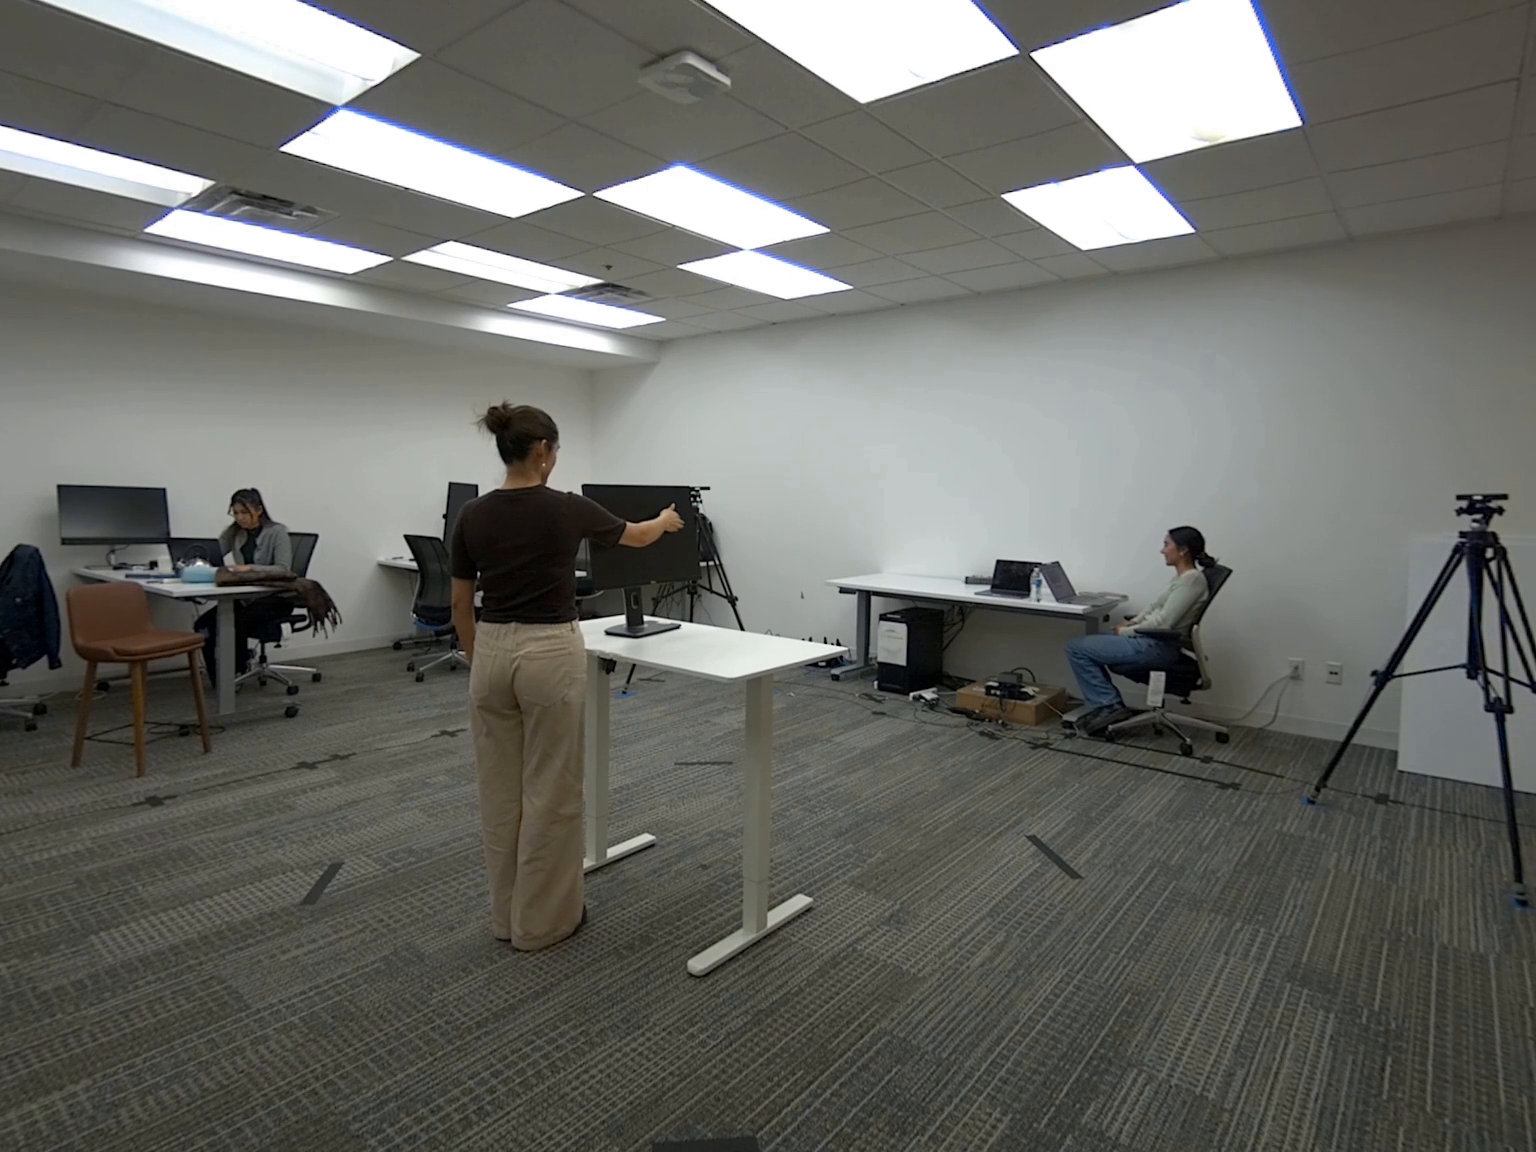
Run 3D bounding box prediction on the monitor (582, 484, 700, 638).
[{"bbox_3d":[-0.455,-0.059,2.986,0.193,0.521,0.524,3,4,35],"label":"monitor"}]
